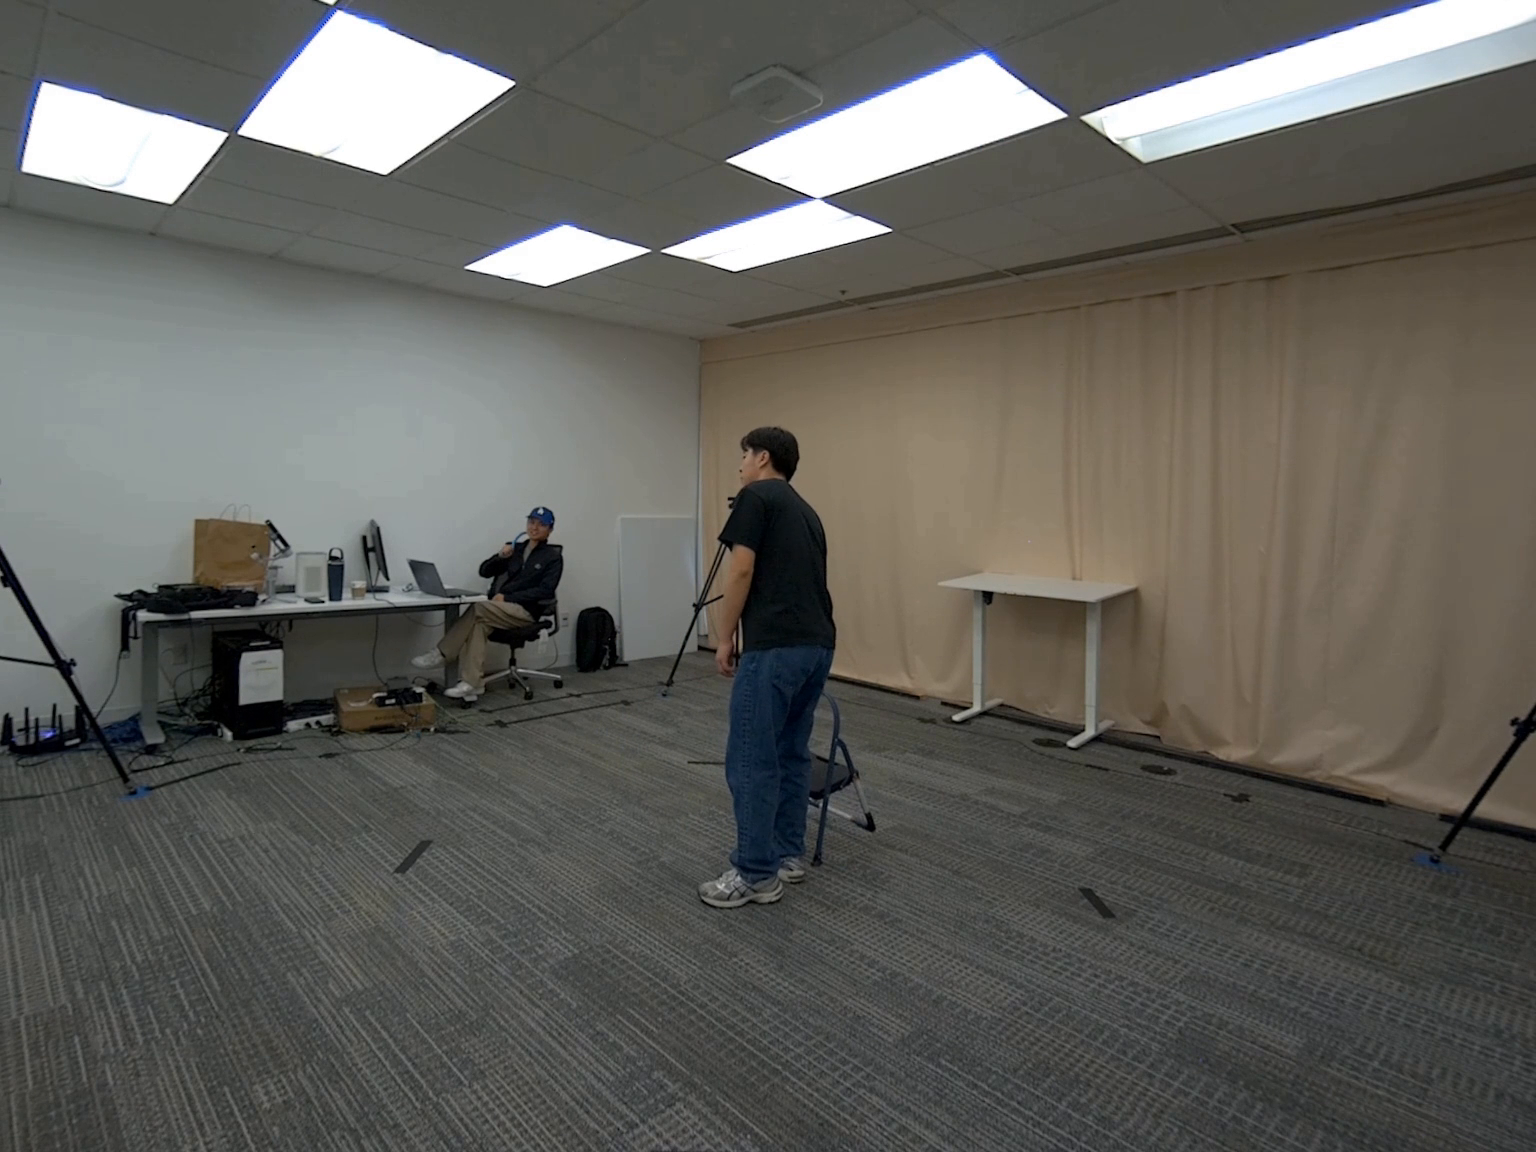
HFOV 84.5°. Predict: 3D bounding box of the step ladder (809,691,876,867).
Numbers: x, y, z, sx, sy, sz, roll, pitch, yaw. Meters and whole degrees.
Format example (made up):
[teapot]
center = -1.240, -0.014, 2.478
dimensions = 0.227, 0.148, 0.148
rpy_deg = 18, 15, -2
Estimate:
[step ladder]
center = 0.143, 0.759, 3.426
dimensions = 0.343, 0.601, 0.441
rpy_deg = -14, 12, -36
